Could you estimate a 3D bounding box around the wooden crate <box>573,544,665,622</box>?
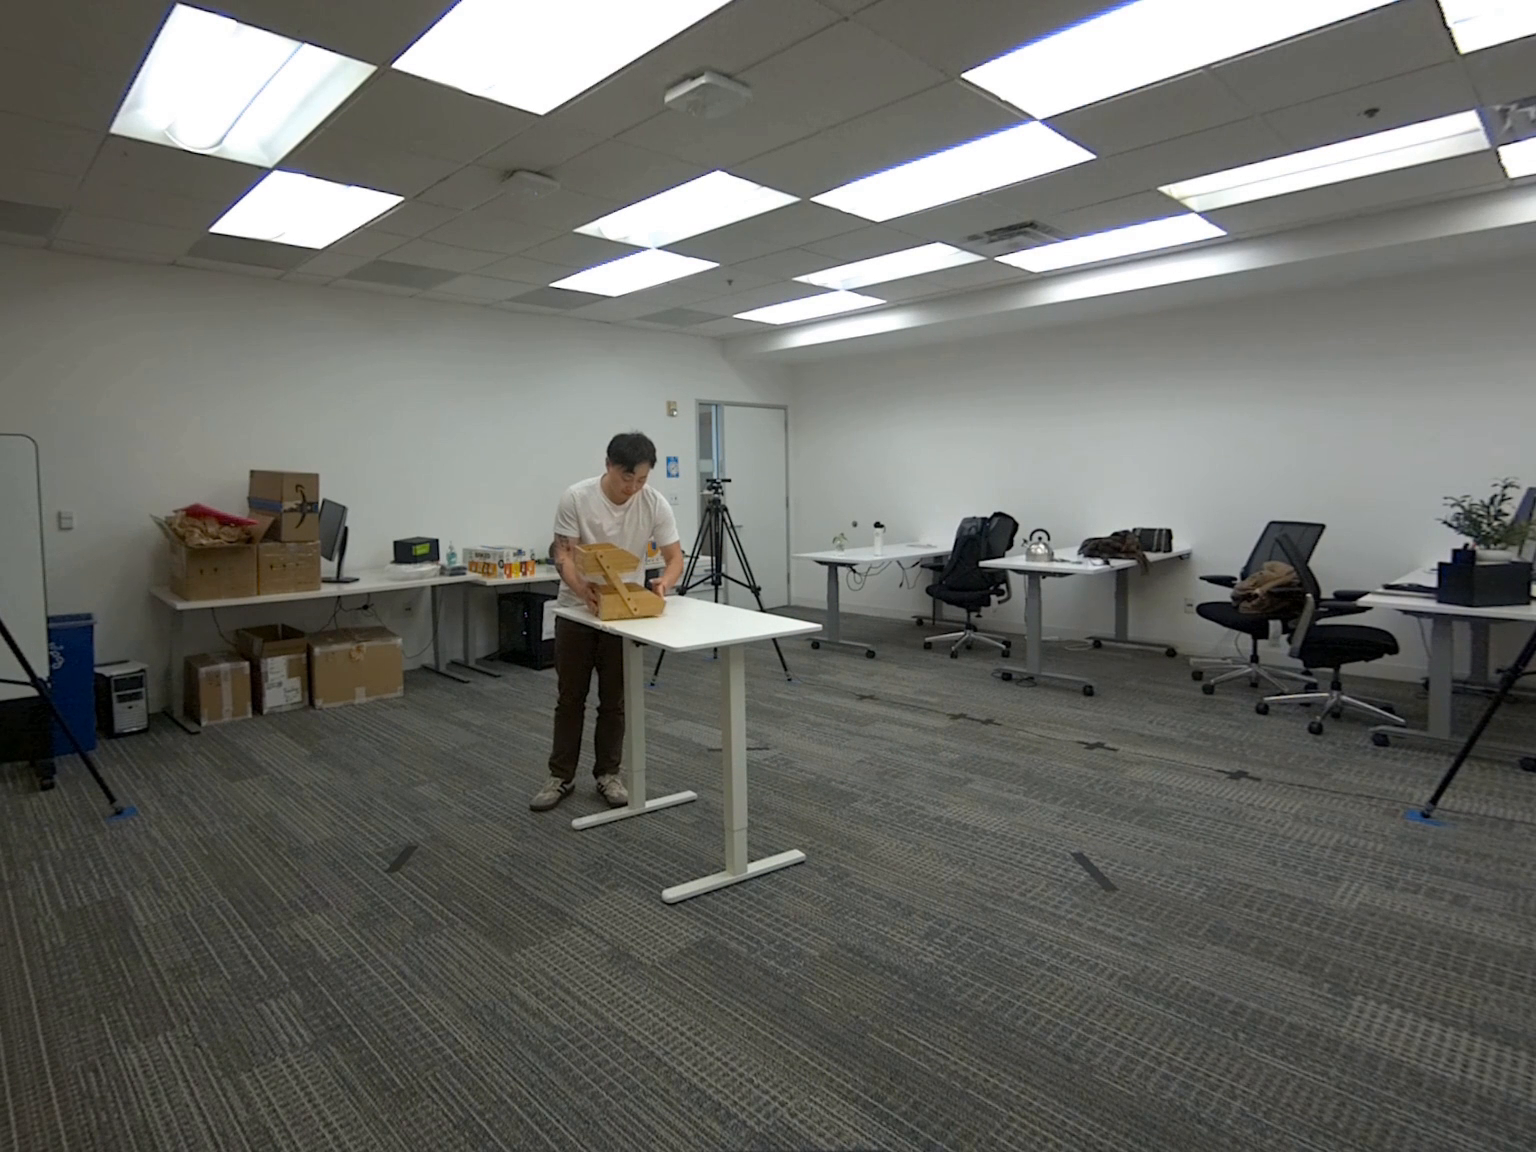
[{"bbox_3d":[-0.581,0.006,3.332,0.297,0.272,0.331,-6,6,-19],"label":"wooden crate"}]
